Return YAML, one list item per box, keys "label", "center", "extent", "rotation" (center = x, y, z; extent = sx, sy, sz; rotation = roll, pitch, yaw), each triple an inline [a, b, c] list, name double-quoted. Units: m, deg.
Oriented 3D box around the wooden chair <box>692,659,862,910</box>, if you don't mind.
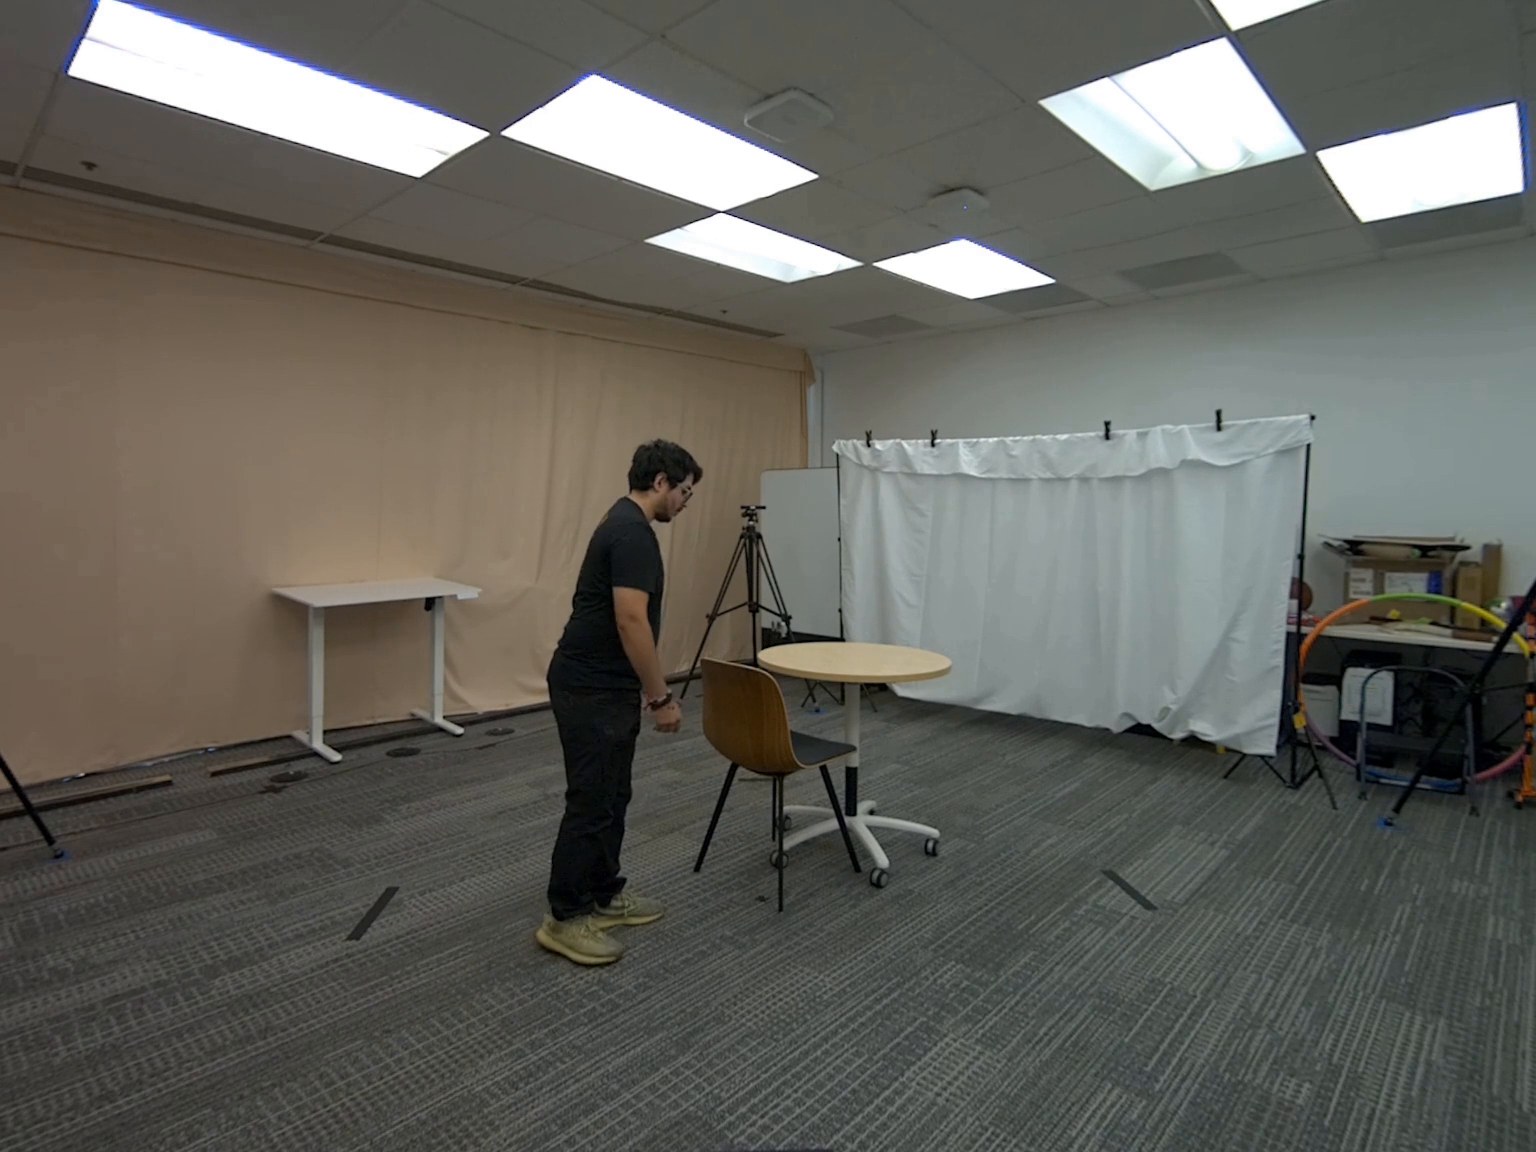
- label: "wooden chair"
  center: [0.043, 0.700, 3.169]
  extent: [0.508, 0.874, 0.494]
  rotation: [-9, 7, -44]
